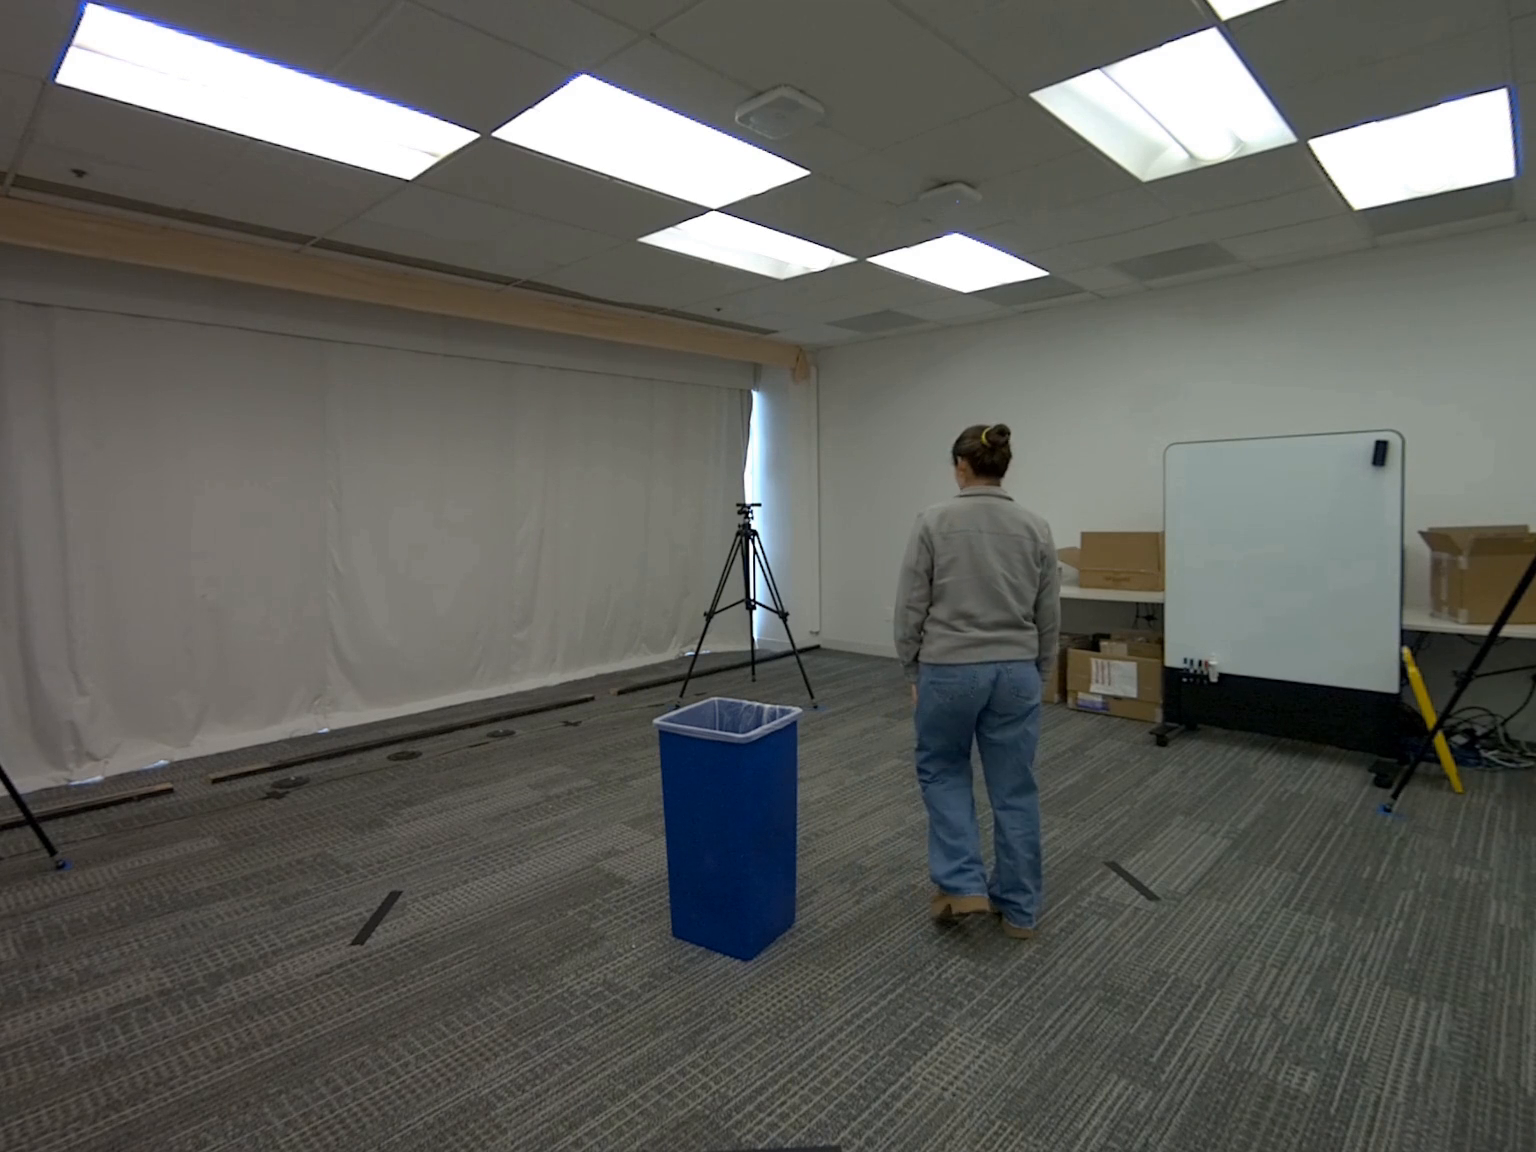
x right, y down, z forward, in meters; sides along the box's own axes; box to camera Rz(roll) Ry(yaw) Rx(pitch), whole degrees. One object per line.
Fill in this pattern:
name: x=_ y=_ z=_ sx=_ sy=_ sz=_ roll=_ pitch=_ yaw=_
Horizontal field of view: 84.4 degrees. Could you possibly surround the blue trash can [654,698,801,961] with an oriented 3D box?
blue trash can: x=-0.114 y=0.803 z=2.734 sx=0.389 sy=0.712 sz=0.363 roll=1 pitch=3 yaw=33
